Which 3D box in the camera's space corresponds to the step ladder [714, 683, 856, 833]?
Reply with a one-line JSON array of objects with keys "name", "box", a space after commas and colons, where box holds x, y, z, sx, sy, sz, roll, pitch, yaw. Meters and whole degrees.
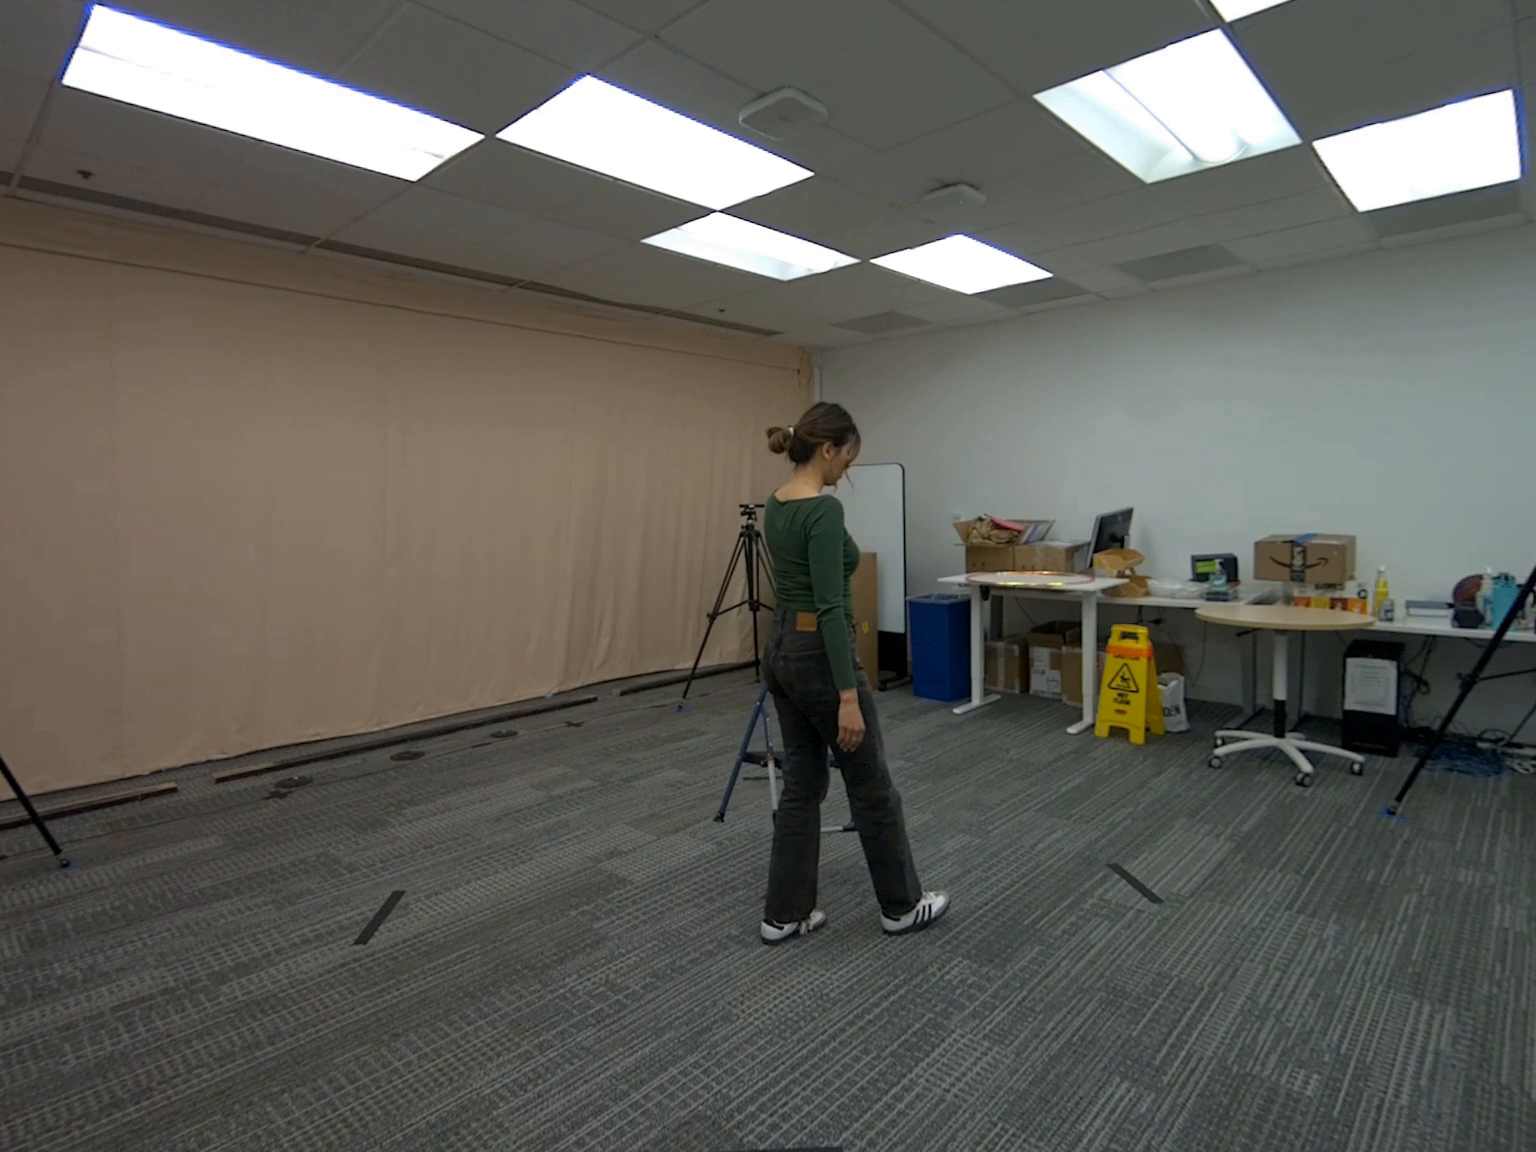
[{"name": "step ladder", "box": [0.091, 0.619, 3.121, 0.416, 0.608, 0.360, 9, -8, -43]}]
